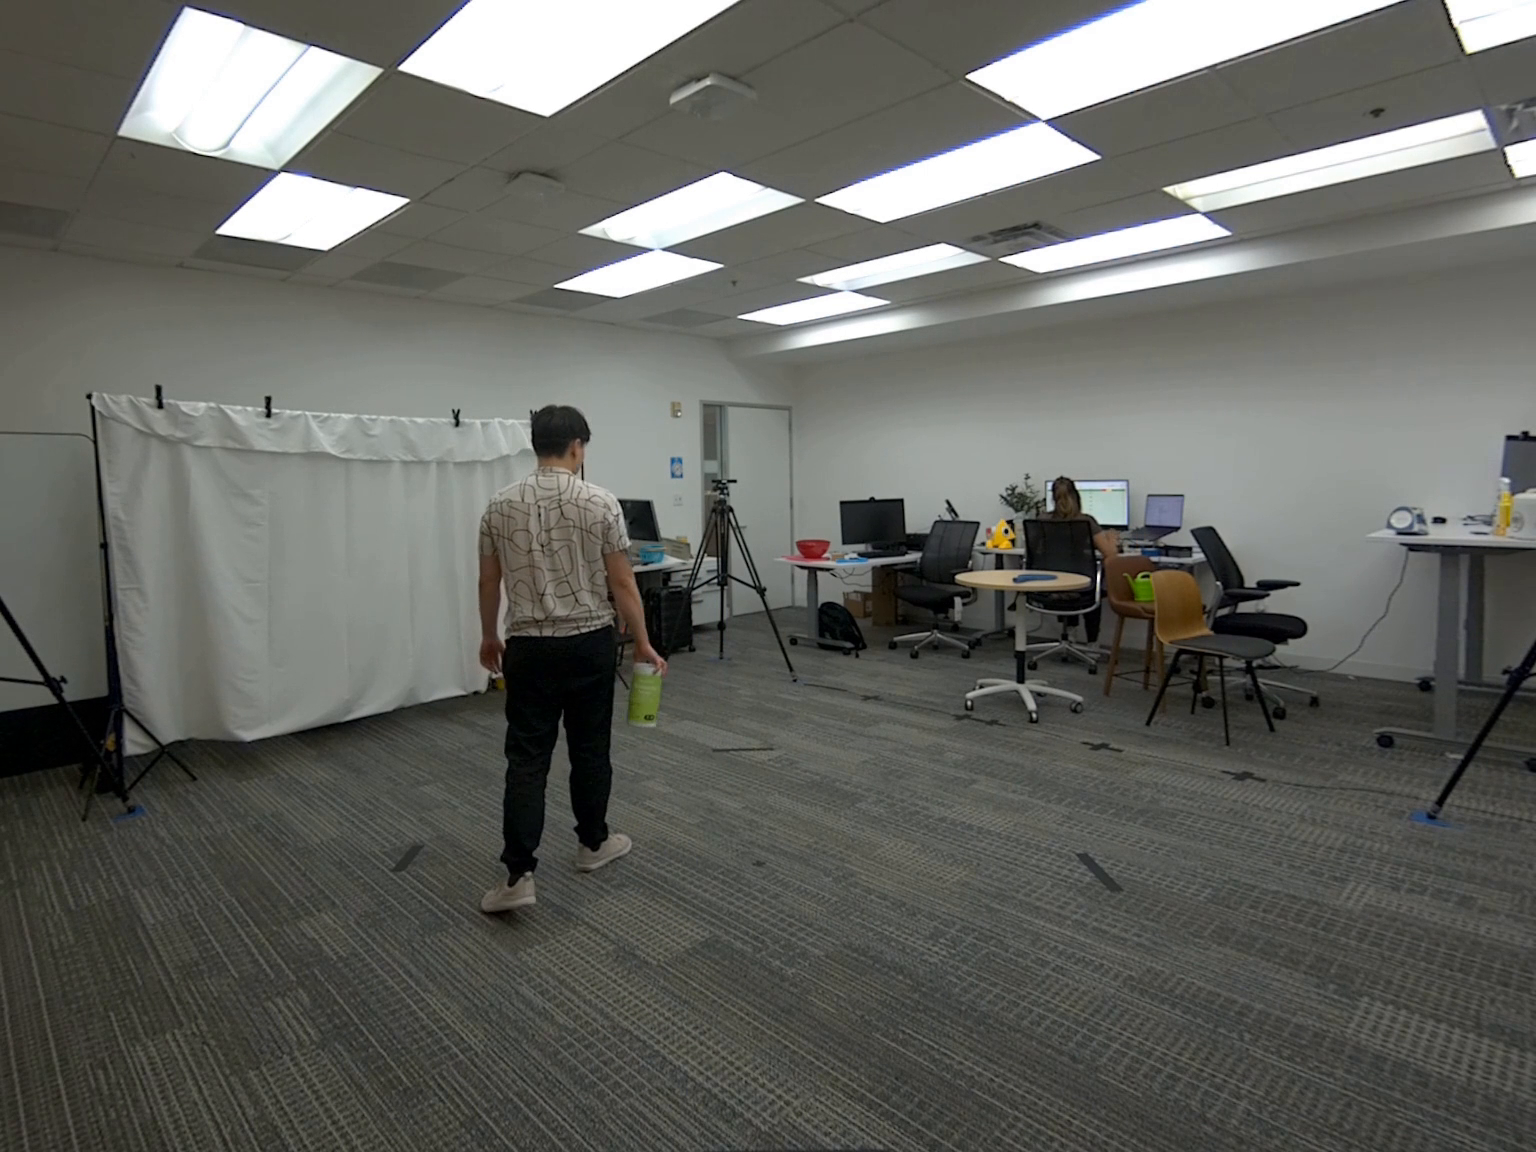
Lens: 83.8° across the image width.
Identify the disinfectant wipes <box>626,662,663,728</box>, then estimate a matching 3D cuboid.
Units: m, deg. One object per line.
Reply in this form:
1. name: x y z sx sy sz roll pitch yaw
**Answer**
1. disinfectant wipes: -0.445 0.423 3.053 0.118 0.218 0.118 6 -2 -2
